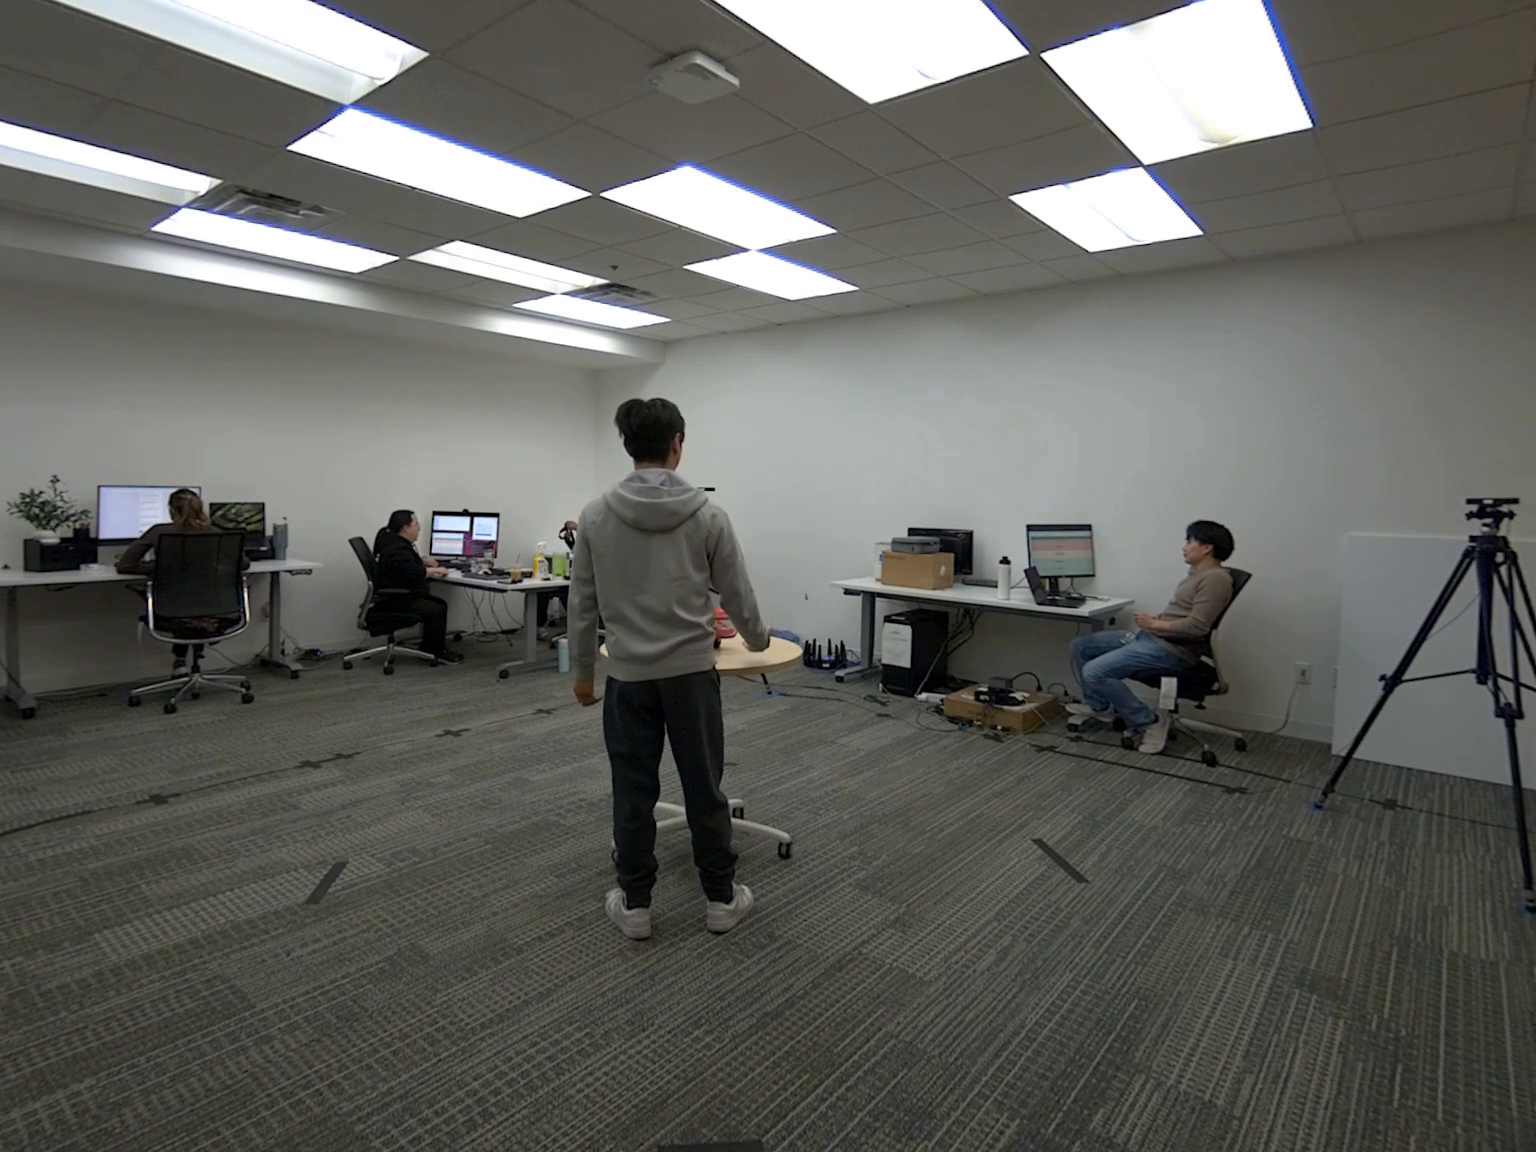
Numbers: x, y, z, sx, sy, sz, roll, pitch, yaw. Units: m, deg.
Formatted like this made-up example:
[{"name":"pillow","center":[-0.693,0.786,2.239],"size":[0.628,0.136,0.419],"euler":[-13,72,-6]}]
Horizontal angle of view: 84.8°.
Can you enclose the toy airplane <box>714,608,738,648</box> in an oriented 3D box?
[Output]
[{"name":"toy airplane","center":[-0.240,0.201,3.168],"size":[0.246,0.156,0.265],"euler":[-2,6,-19]}]
